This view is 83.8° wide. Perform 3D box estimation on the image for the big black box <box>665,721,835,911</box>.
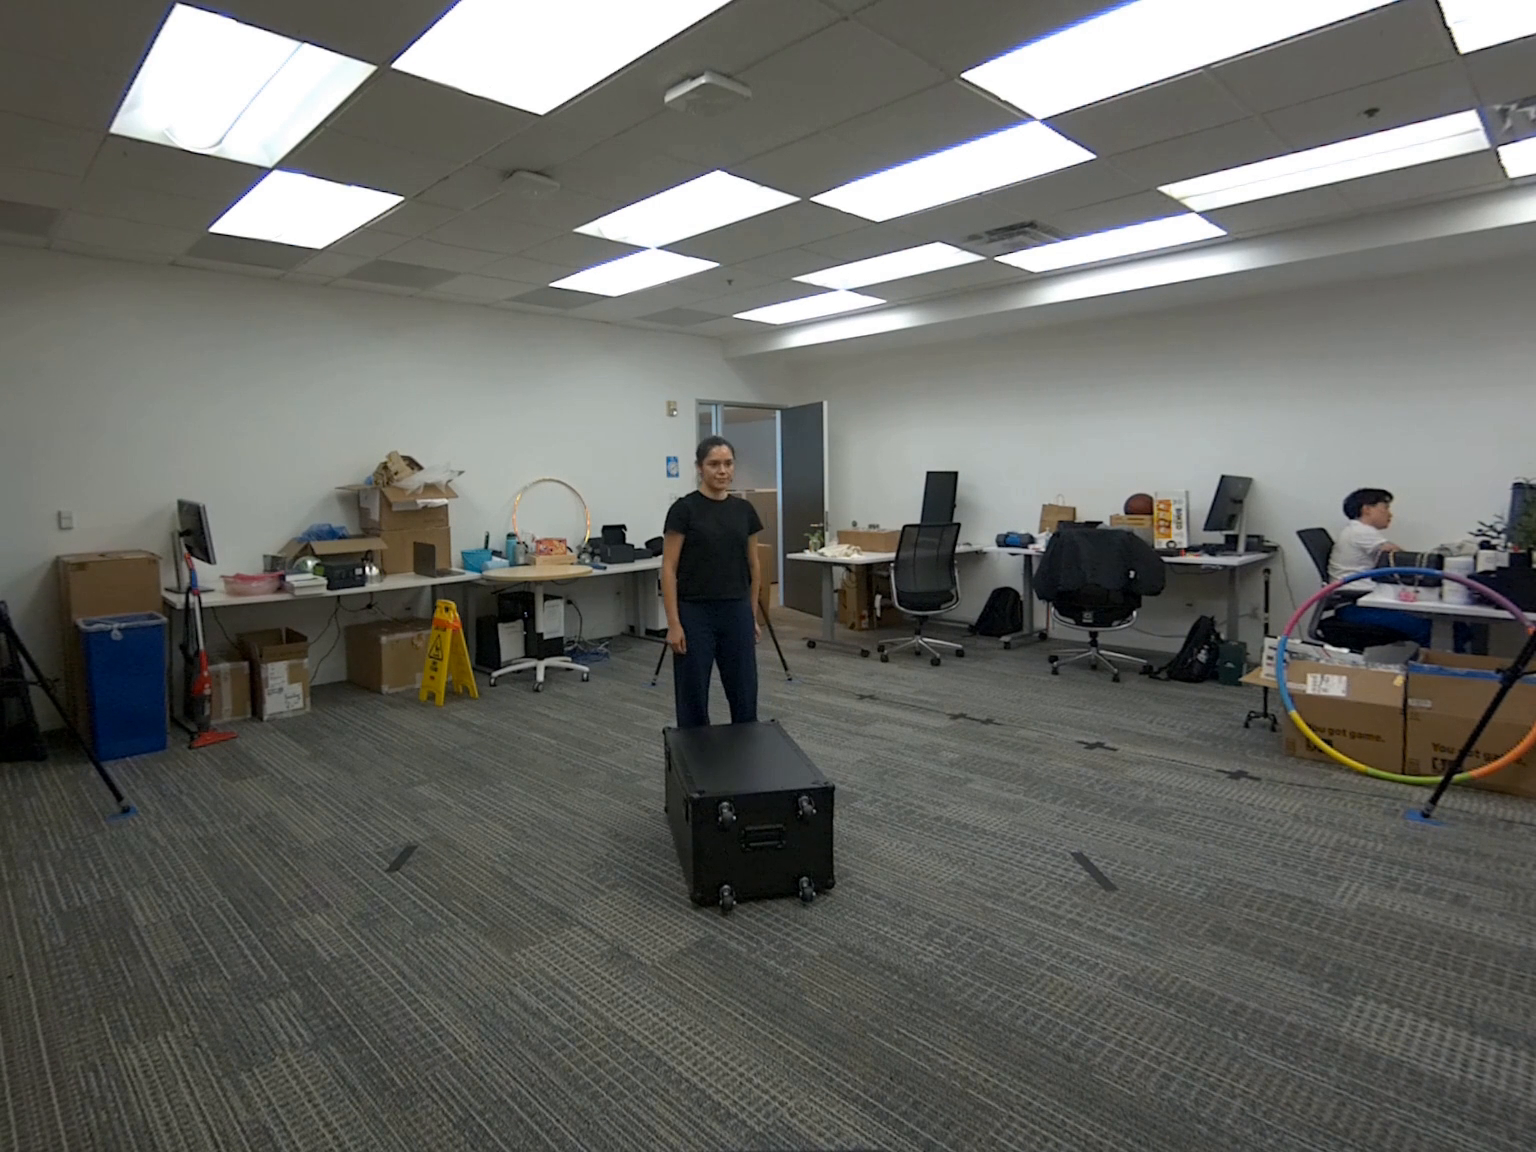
[{"bbox_3d":[-0.097,0.843,3.168,0.515,0.395,0.875,-2,6,-13],"label":"big black box"}]
